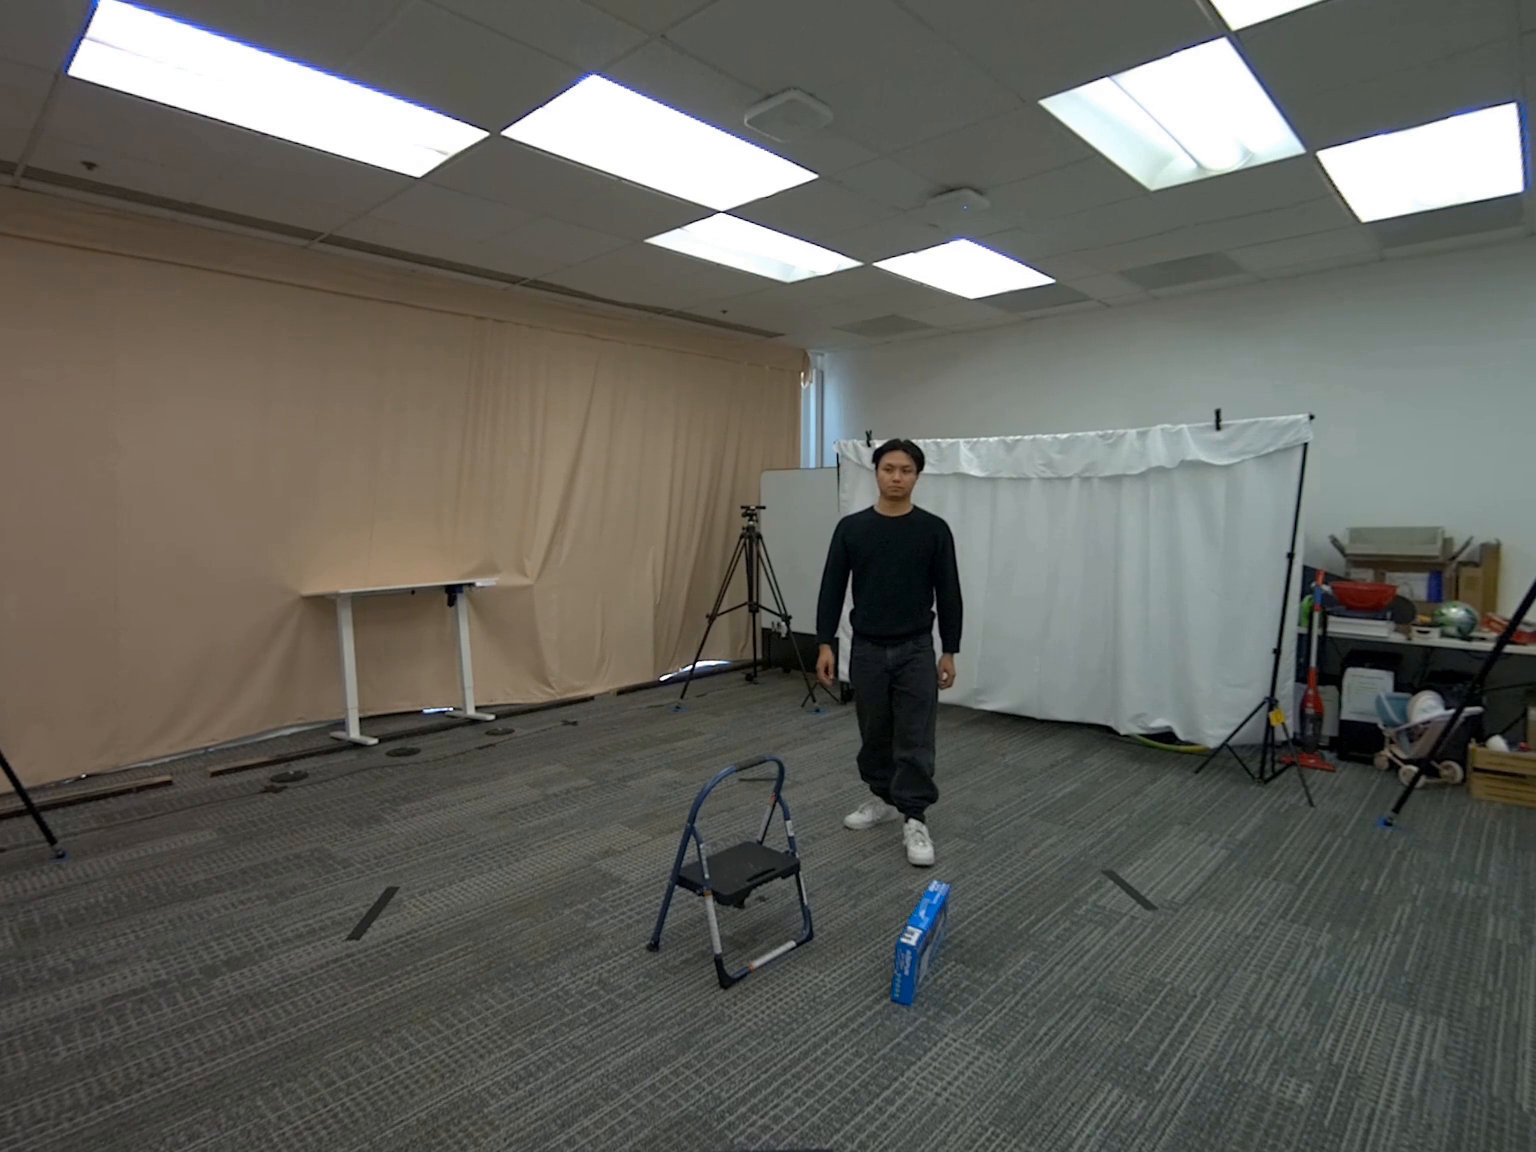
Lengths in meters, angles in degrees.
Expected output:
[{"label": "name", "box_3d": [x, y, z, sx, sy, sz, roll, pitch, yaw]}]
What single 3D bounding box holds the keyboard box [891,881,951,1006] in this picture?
[{"label": "keyboard box", "box_3d": [0.475, 1.101, 2.523, 0.061, 0.175, 0.427, 8, 8, 24]}]
